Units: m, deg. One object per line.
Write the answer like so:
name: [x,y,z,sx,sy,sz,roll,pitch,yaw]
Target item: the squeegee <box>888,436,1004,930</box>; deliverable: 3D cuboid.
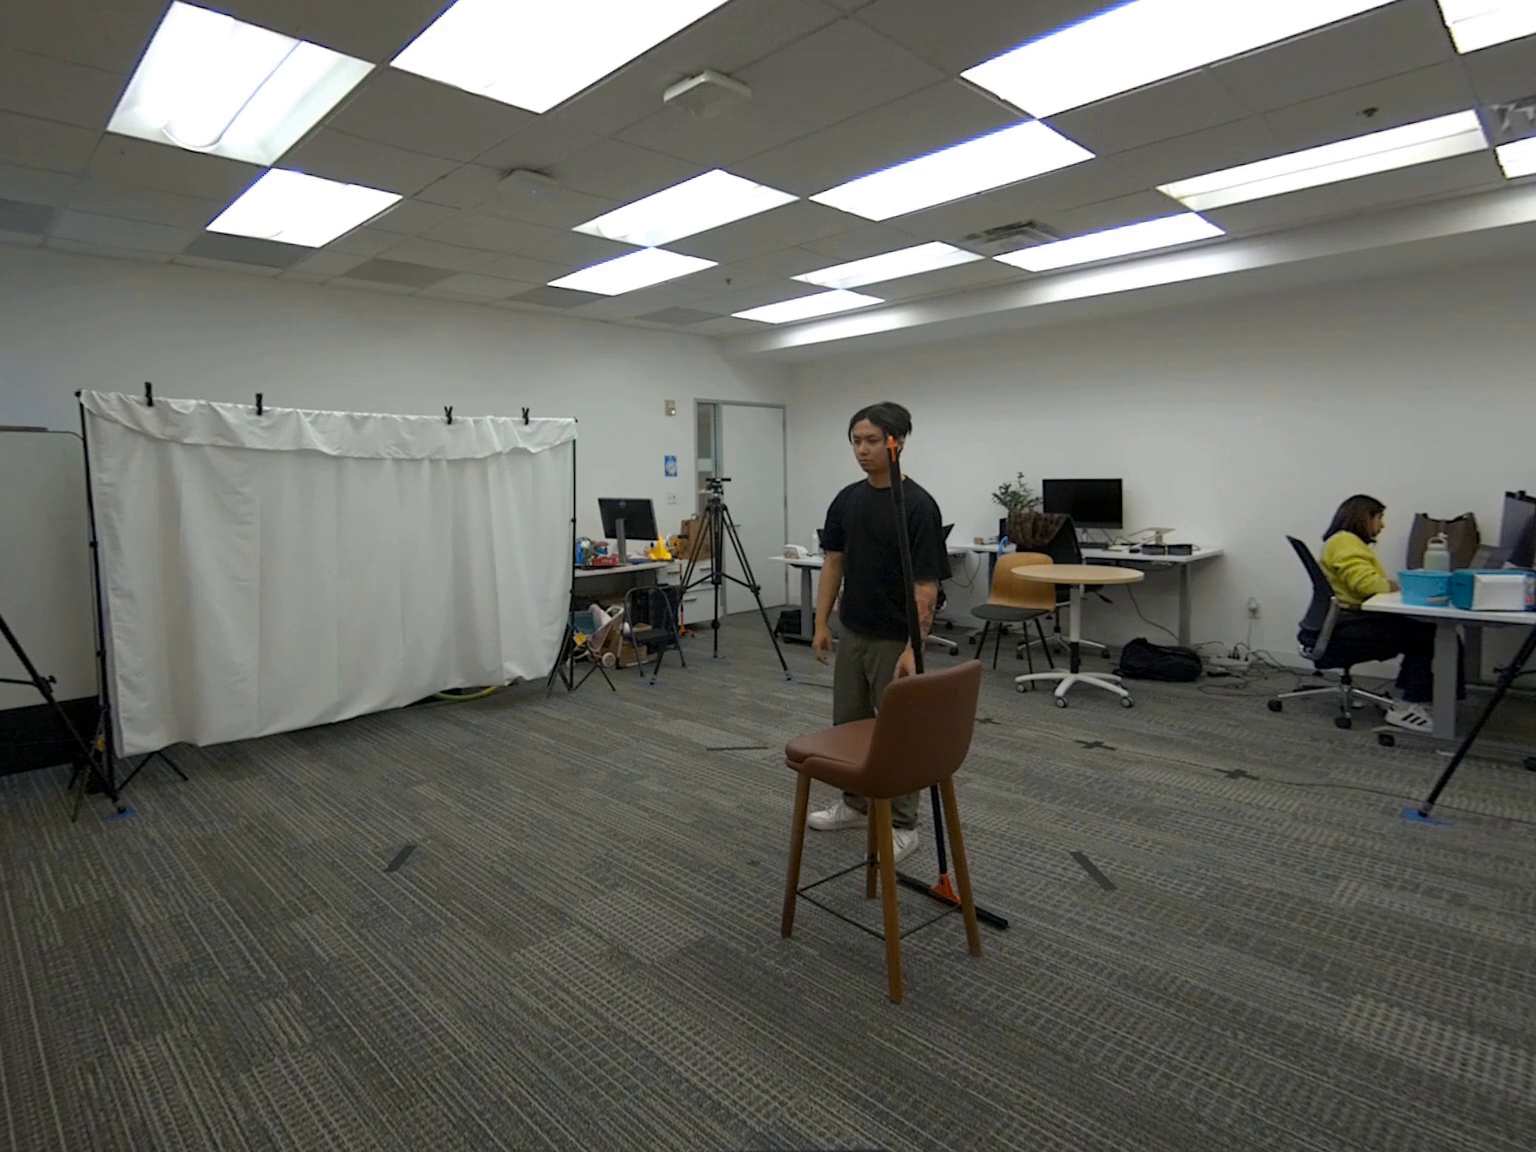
squeegee: [0.468,0.320,2.648,0.052,1.523,0.450,-11,11,-28]
